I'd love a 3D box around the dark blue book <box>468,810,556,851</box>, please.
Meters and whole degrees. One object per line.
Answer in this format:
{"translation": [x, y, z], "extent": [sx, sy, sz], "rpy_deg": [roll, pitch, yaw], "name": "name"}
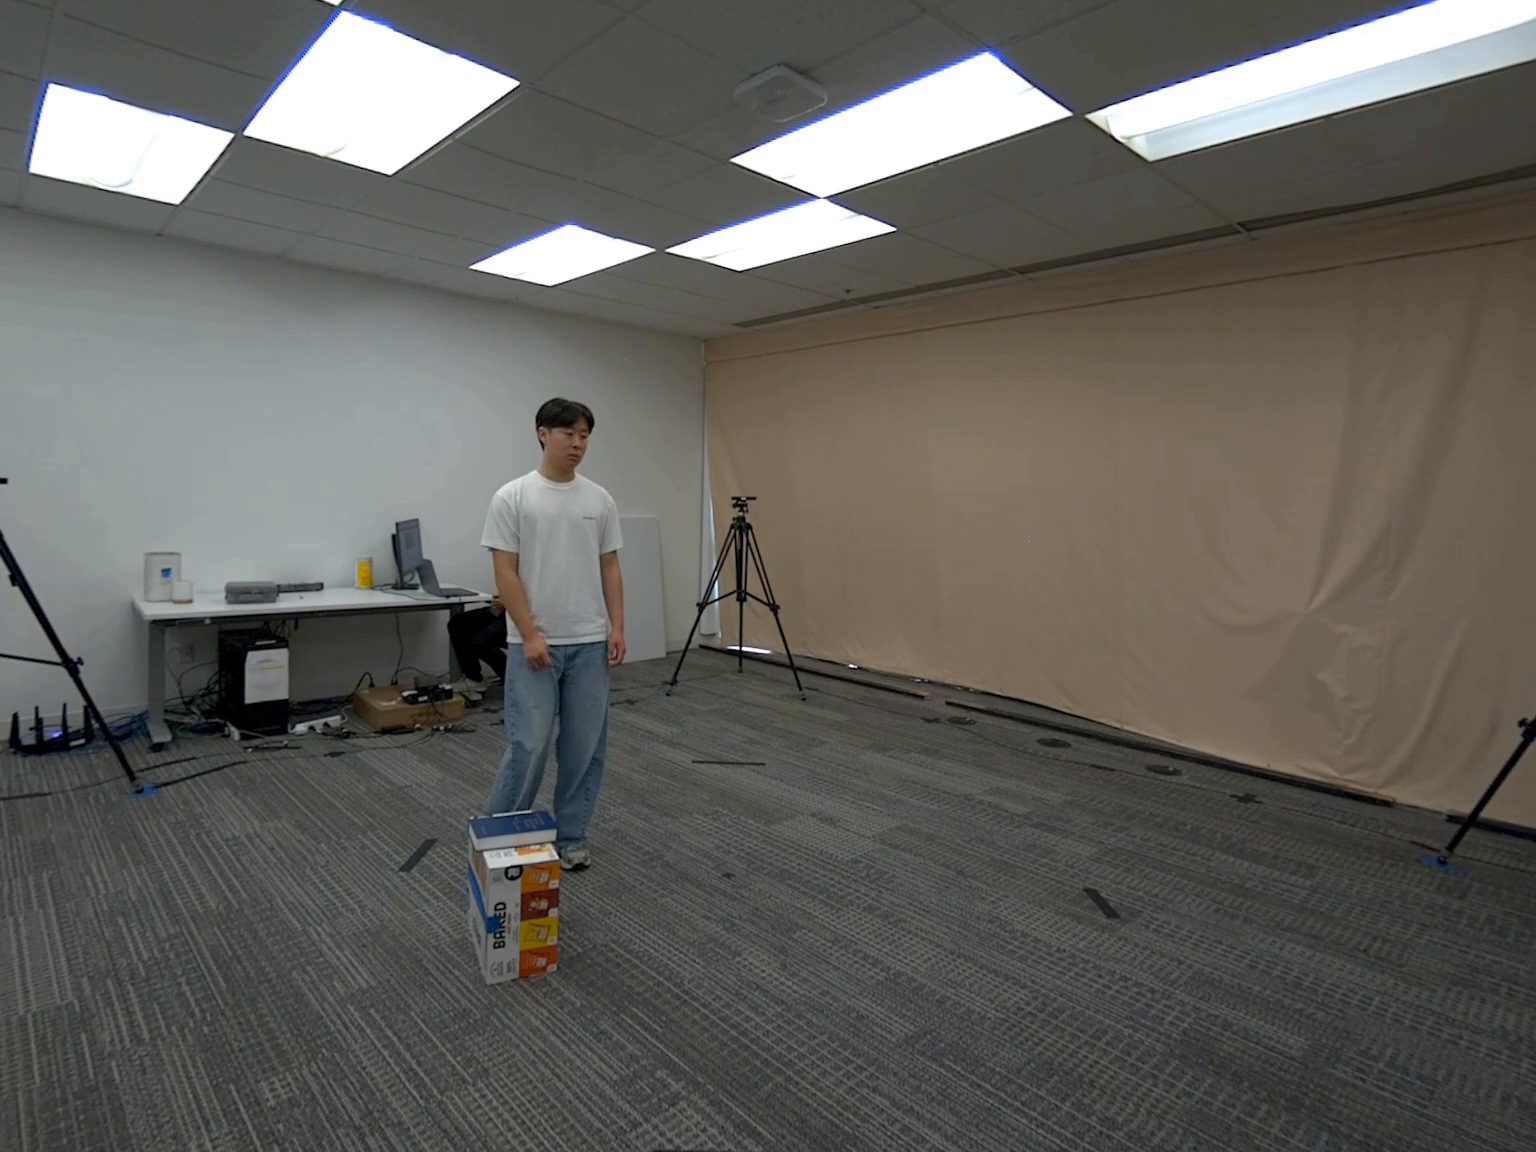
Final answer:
{"translation": [-0.800, 0.785, 2.574], "extent": [0.240, 0.045, 0.167], "rpy_deg": [1, 4, -27], "name": "dark blue book"}
